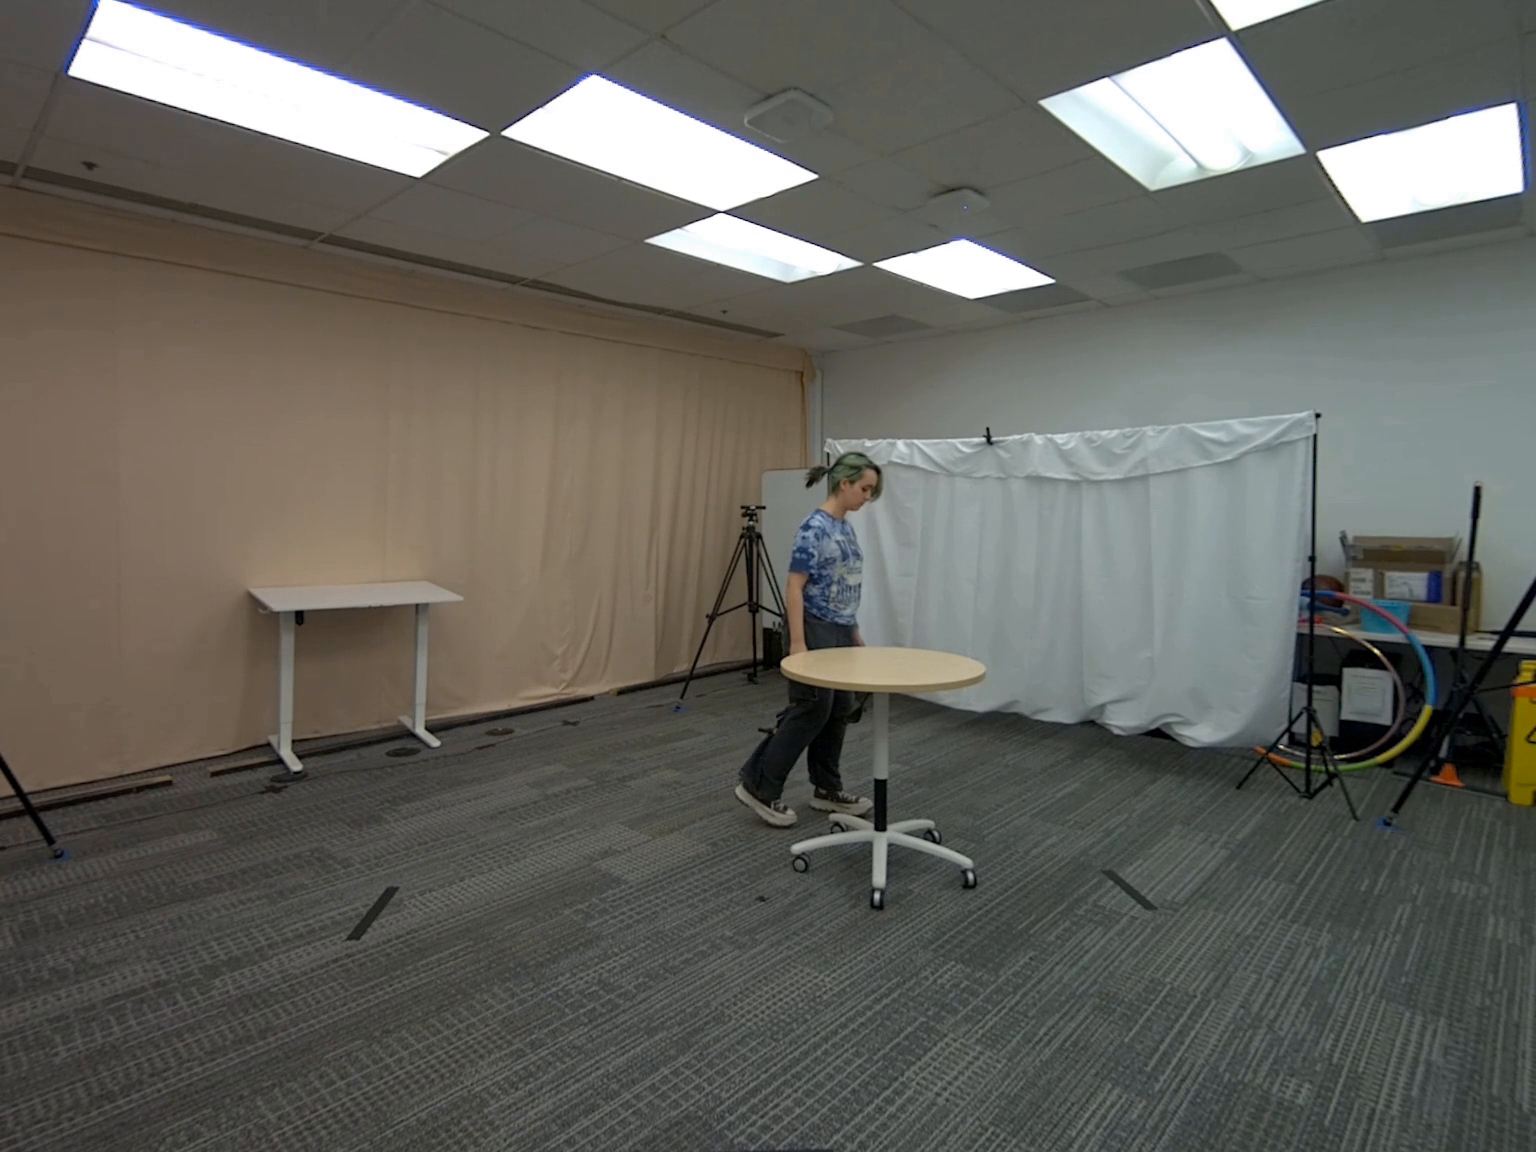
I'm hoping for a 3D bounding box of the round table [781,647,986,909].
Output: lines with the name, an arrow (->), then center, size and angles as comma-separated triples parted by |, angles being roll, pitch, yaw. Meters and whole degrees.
round table -> 0.435, 0.729, 3.238 | 0.763, 0.792, 0.766 | 0, 3, -2
